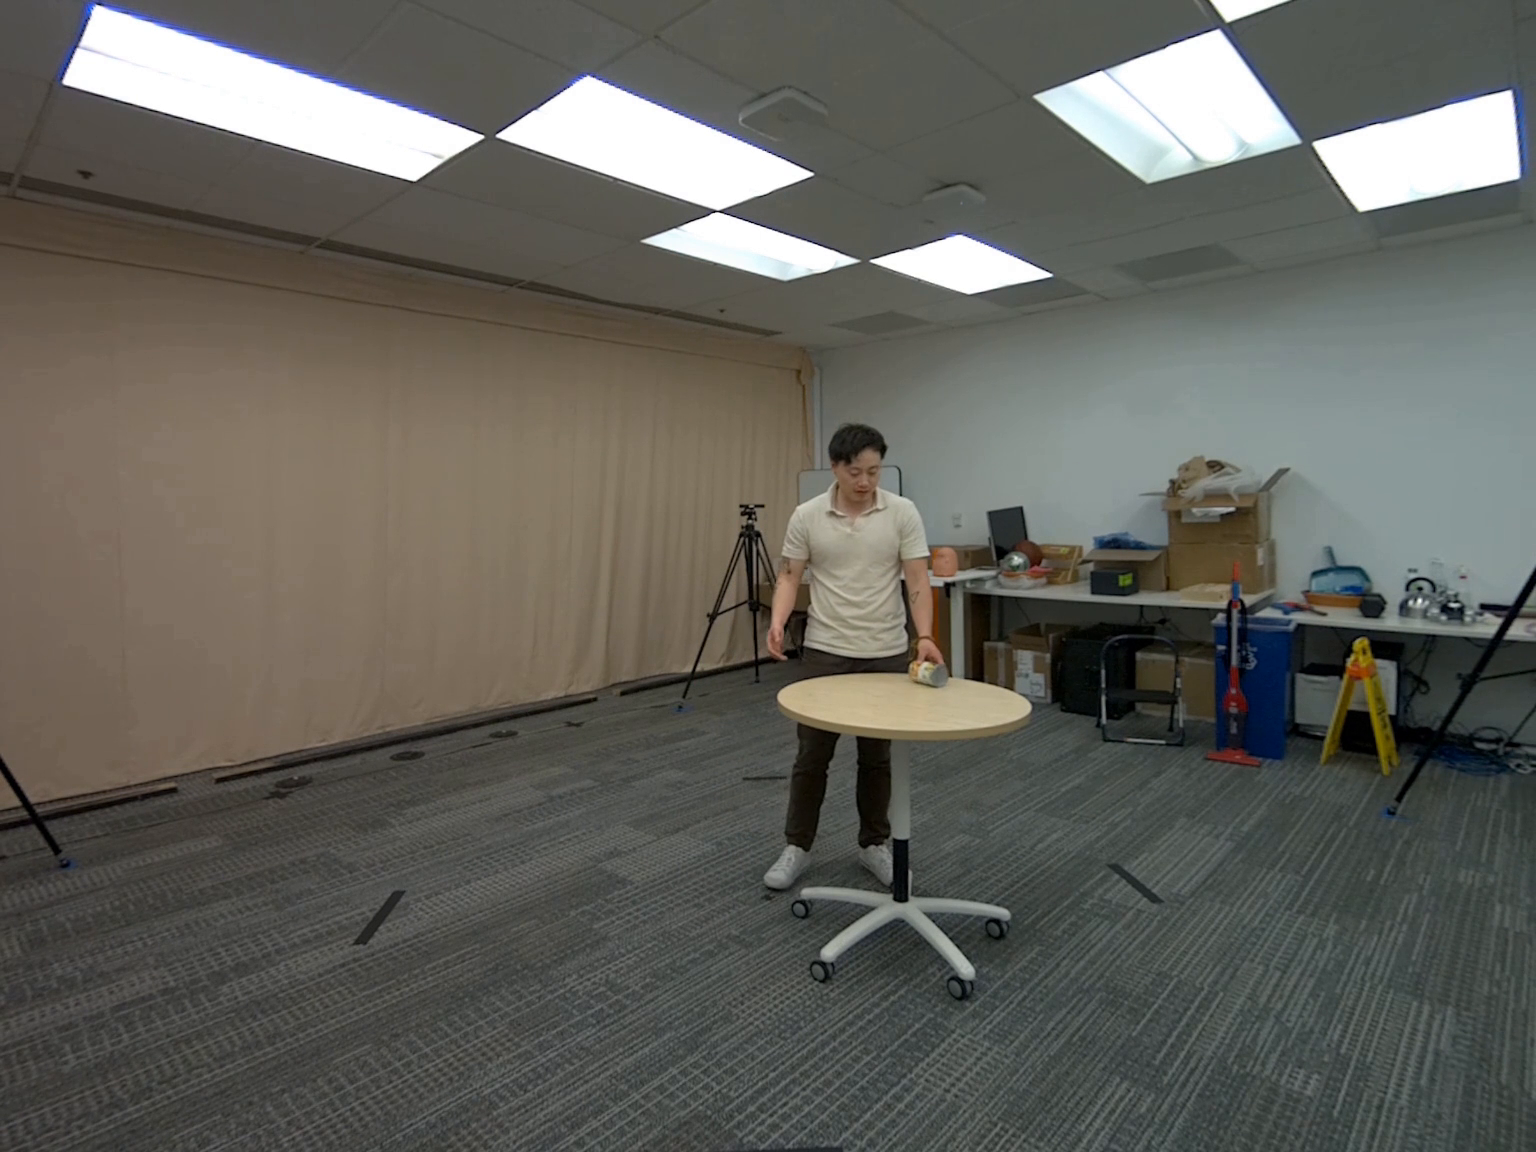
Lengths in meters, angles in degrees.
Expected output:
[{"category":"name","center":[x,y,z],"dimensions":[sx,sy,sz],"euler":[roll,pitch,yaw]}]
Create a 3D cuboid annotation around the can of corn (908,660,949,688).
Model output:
[{"category":"can of corn","center":[0.525,0.324,2.802],"dimensions":[0.072,0.074,0.114],"euler":[-3,4,-25]}]
